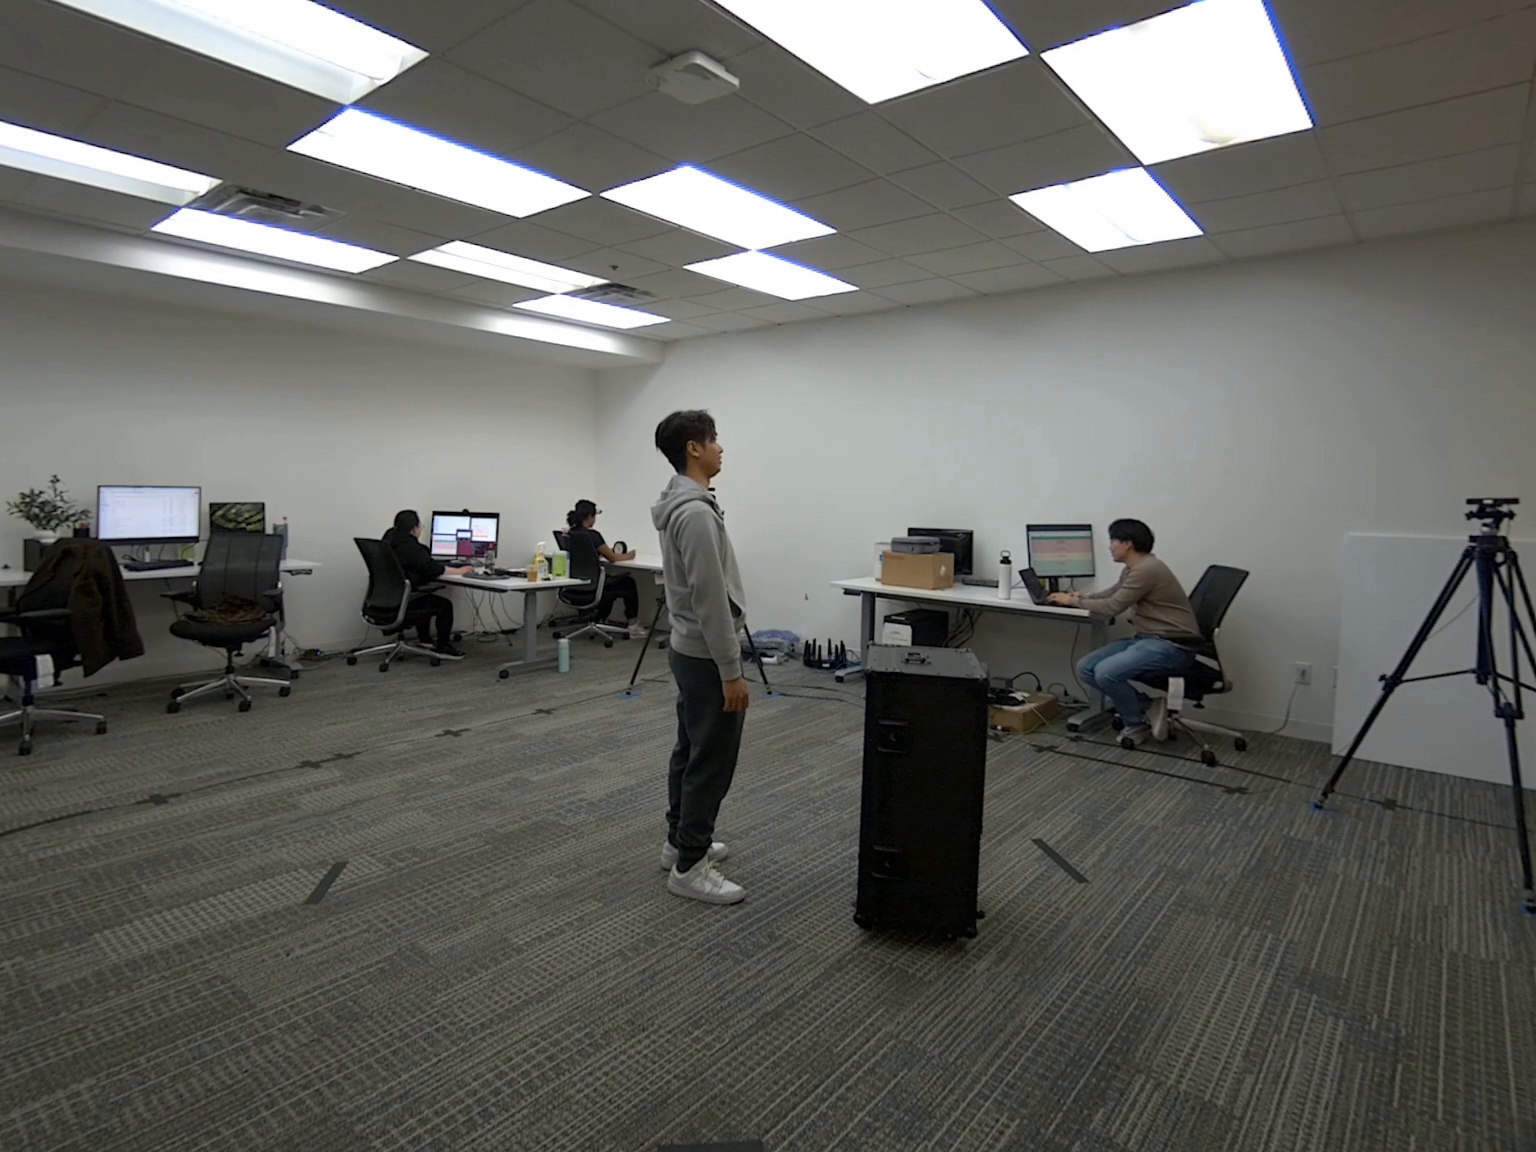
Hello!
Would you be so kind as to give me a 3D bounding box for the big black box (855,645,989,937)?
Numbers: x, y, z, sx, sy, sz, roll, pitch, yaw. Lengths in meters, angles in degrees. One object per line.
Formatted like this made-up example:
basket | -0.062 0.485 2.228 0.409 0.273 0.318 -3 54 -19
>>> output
big black box | 0.496 0.694 2.769 0.401 0.858 0.517 2 4 10
